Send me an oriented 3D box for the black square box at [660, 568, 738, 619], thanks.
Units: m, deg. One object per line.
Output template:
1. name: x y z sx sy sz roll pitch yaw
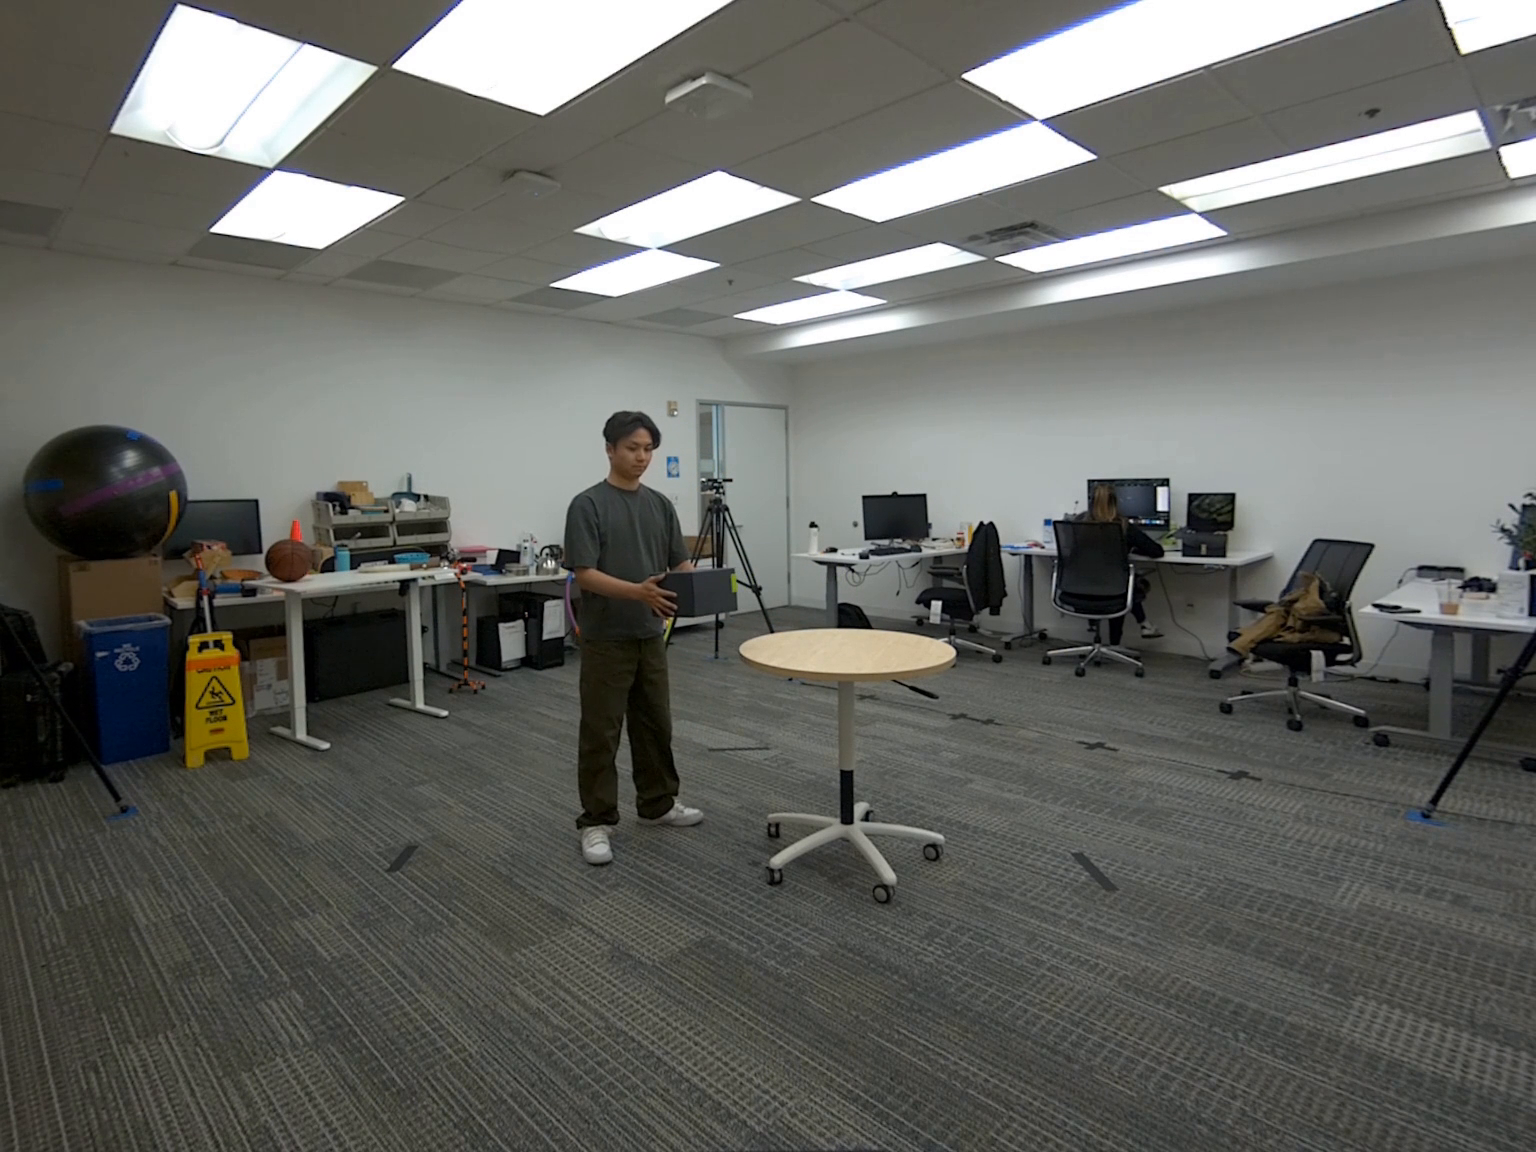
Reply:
1. black square box: -0.253 0.056 3.042 0.234 0.156 0.211 -3 1 42
